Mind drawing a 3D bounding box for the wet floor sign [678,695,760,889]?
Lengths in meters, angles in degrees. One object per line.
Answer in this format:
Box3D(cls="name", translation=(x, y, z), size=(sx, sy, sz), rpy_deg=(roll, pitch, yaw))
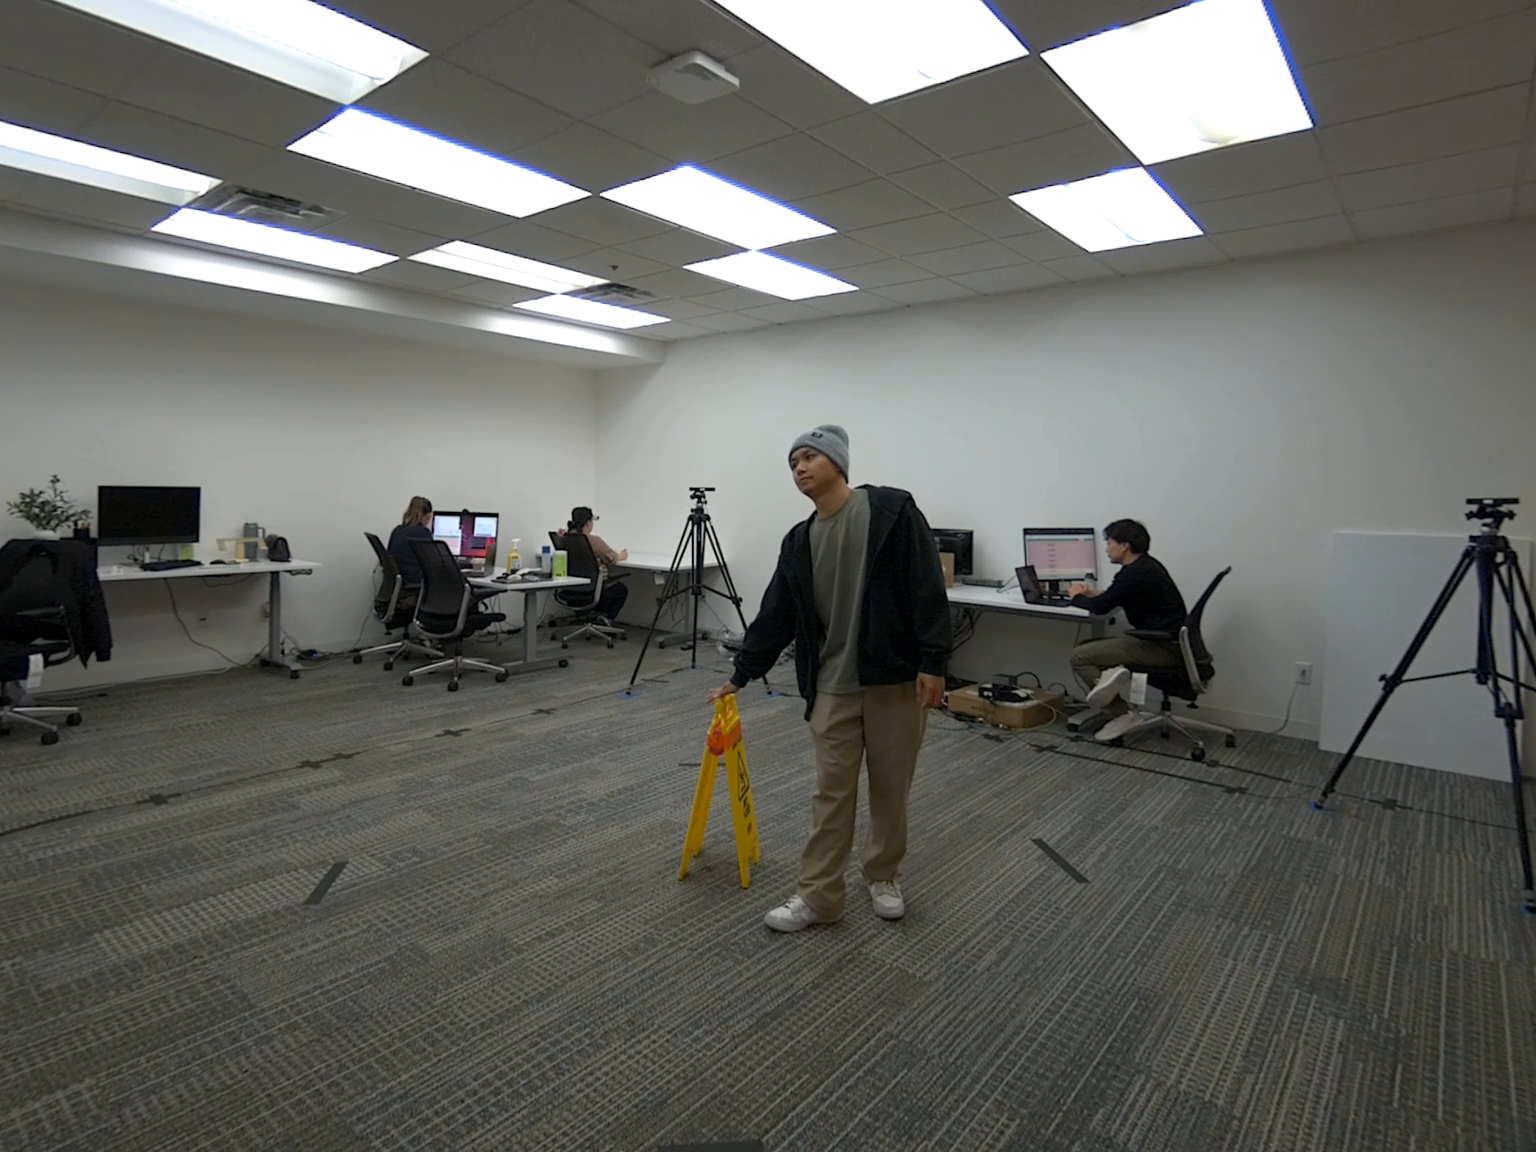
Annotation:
Box3D(cls="wet floor sign", translation=(-0.170, 0.745, 3.095), size=(0.293, 0.644, 0.279), rpy_deg=(2, 4, 11))
